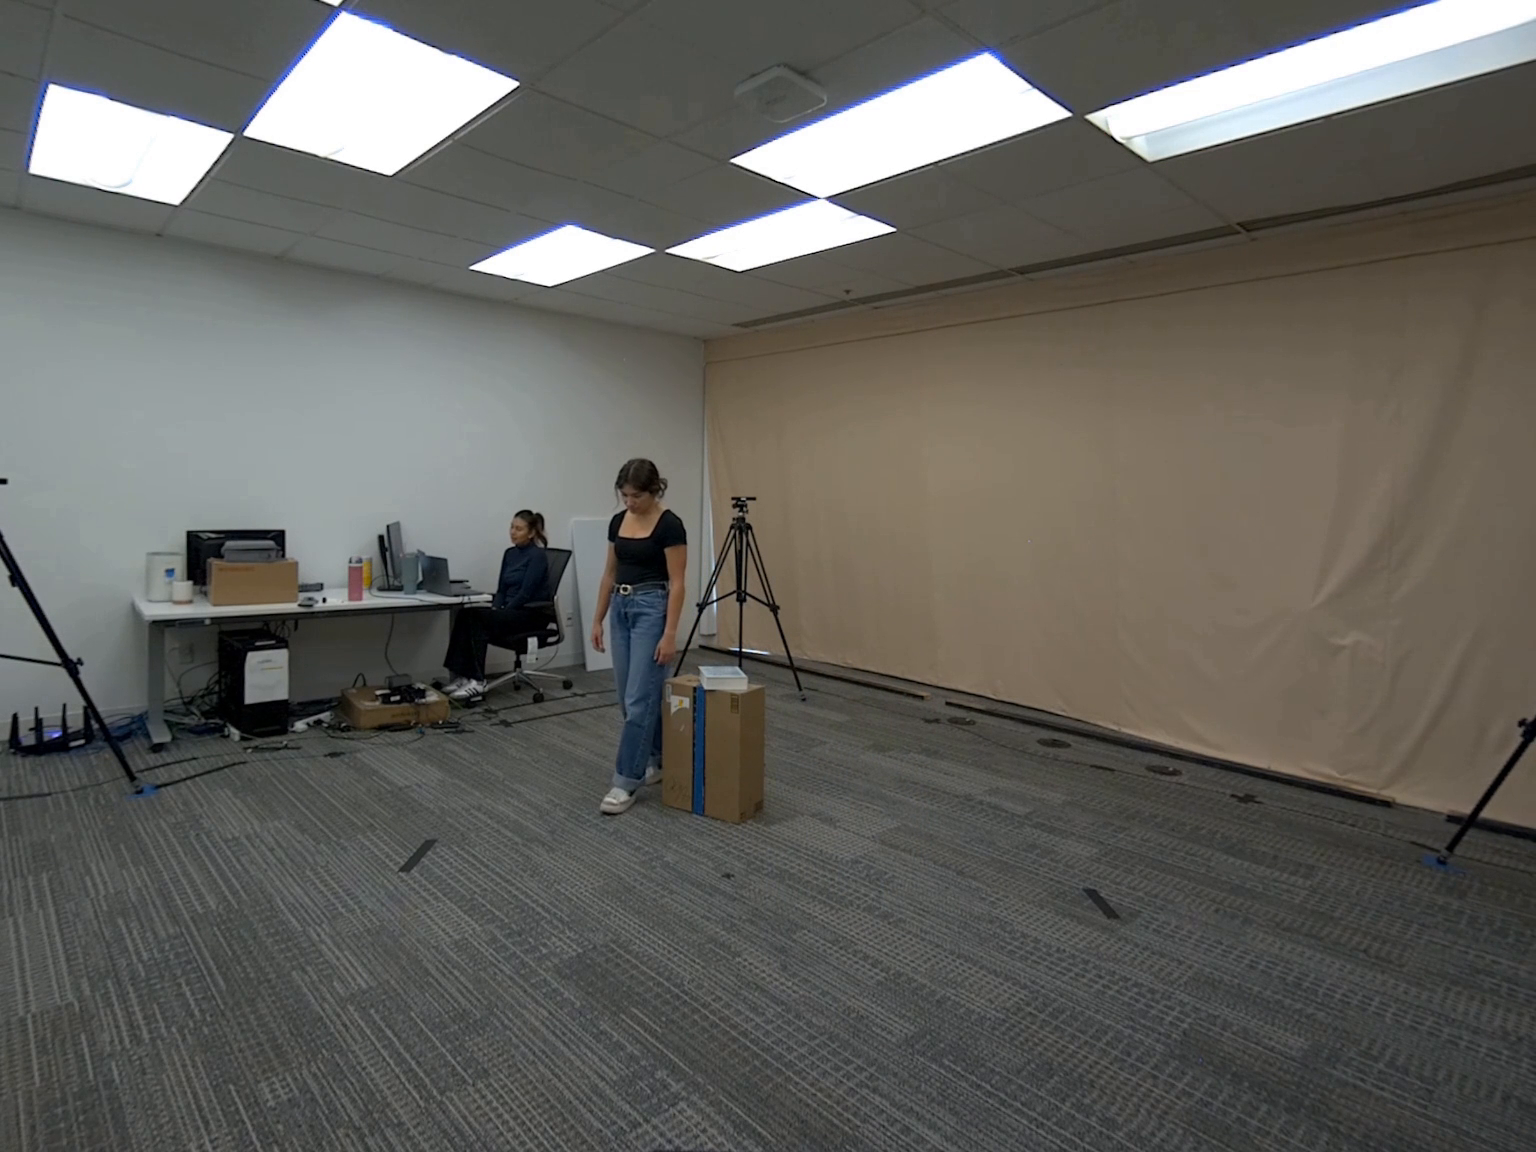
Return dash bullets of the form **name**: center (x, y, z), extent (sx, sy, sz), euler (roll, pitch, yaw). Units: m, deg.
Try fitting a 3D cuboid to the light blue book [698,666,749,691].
- **light blue book**: center (-0.217, 0.454, 3.774), extent (0.190, 0.059, 0.264), euler (2, 4, -11)
